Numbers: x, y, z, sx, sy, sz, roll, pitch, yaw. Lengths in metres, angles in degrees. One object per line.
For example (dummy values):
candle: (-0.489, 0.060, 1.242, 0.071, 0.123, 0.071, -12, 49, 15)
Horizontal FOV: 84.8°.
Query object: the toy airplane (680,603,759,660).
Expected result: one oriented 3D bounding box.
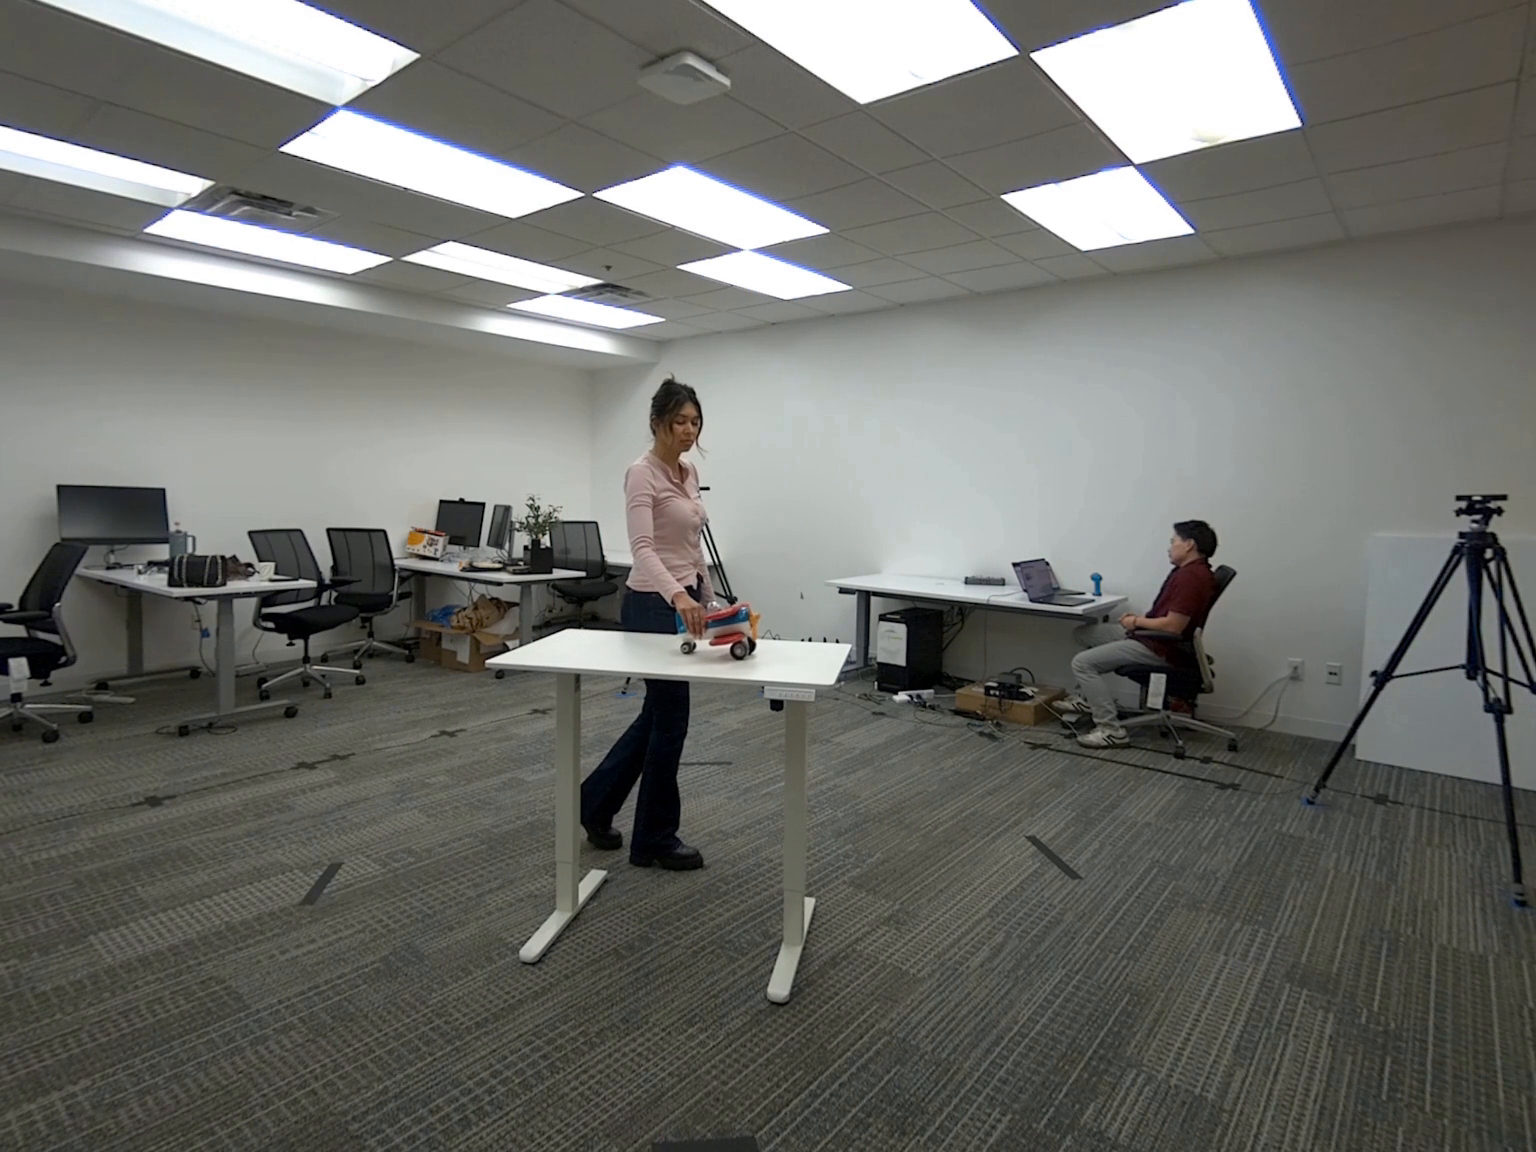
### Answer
toy airplane: (-0.166, 0.163, 2.566, 0.256, 0.156, 0.255, 0, 4, -13)
